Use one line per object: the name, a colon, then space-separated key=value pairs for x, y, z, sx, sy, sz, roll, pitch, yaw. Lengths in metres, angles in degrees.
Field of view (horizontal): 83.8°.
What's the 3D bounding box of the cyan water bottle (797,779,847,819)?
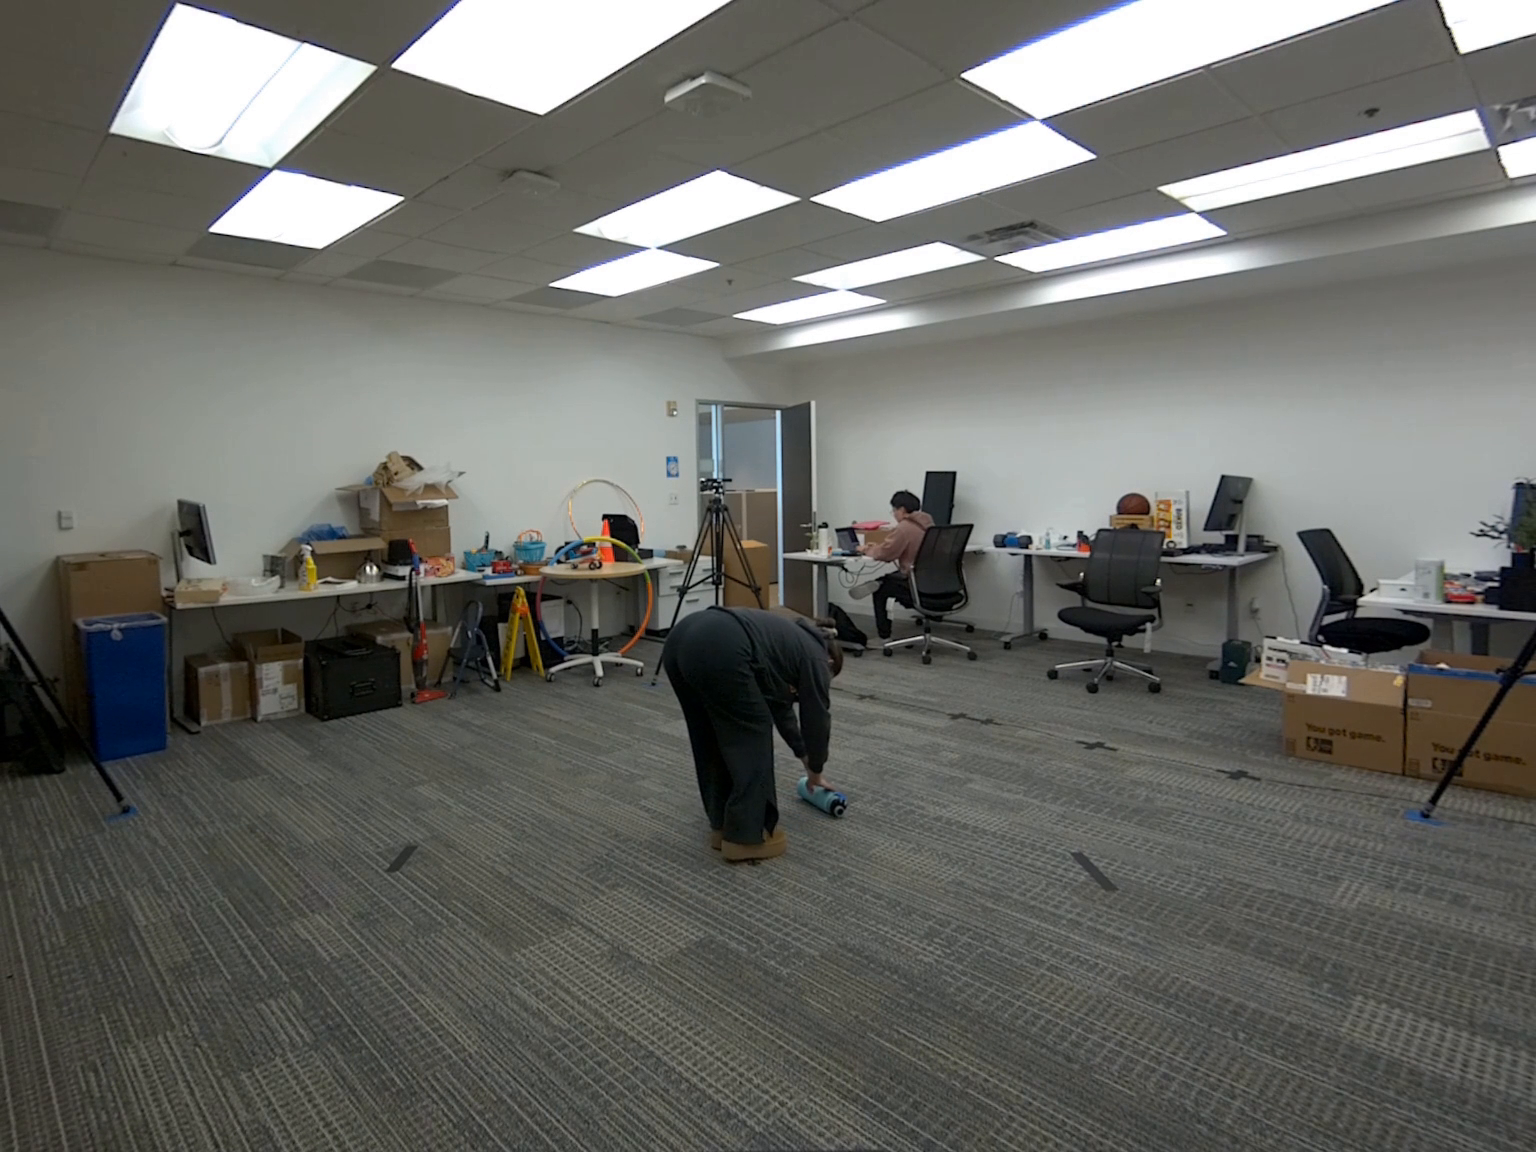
cyan water bottle: x=0.229 y=0.941 z=3.609 sx=0.090 sy=0.092 sz=0.291 roll=-3 pitch=8 yaw=-29
